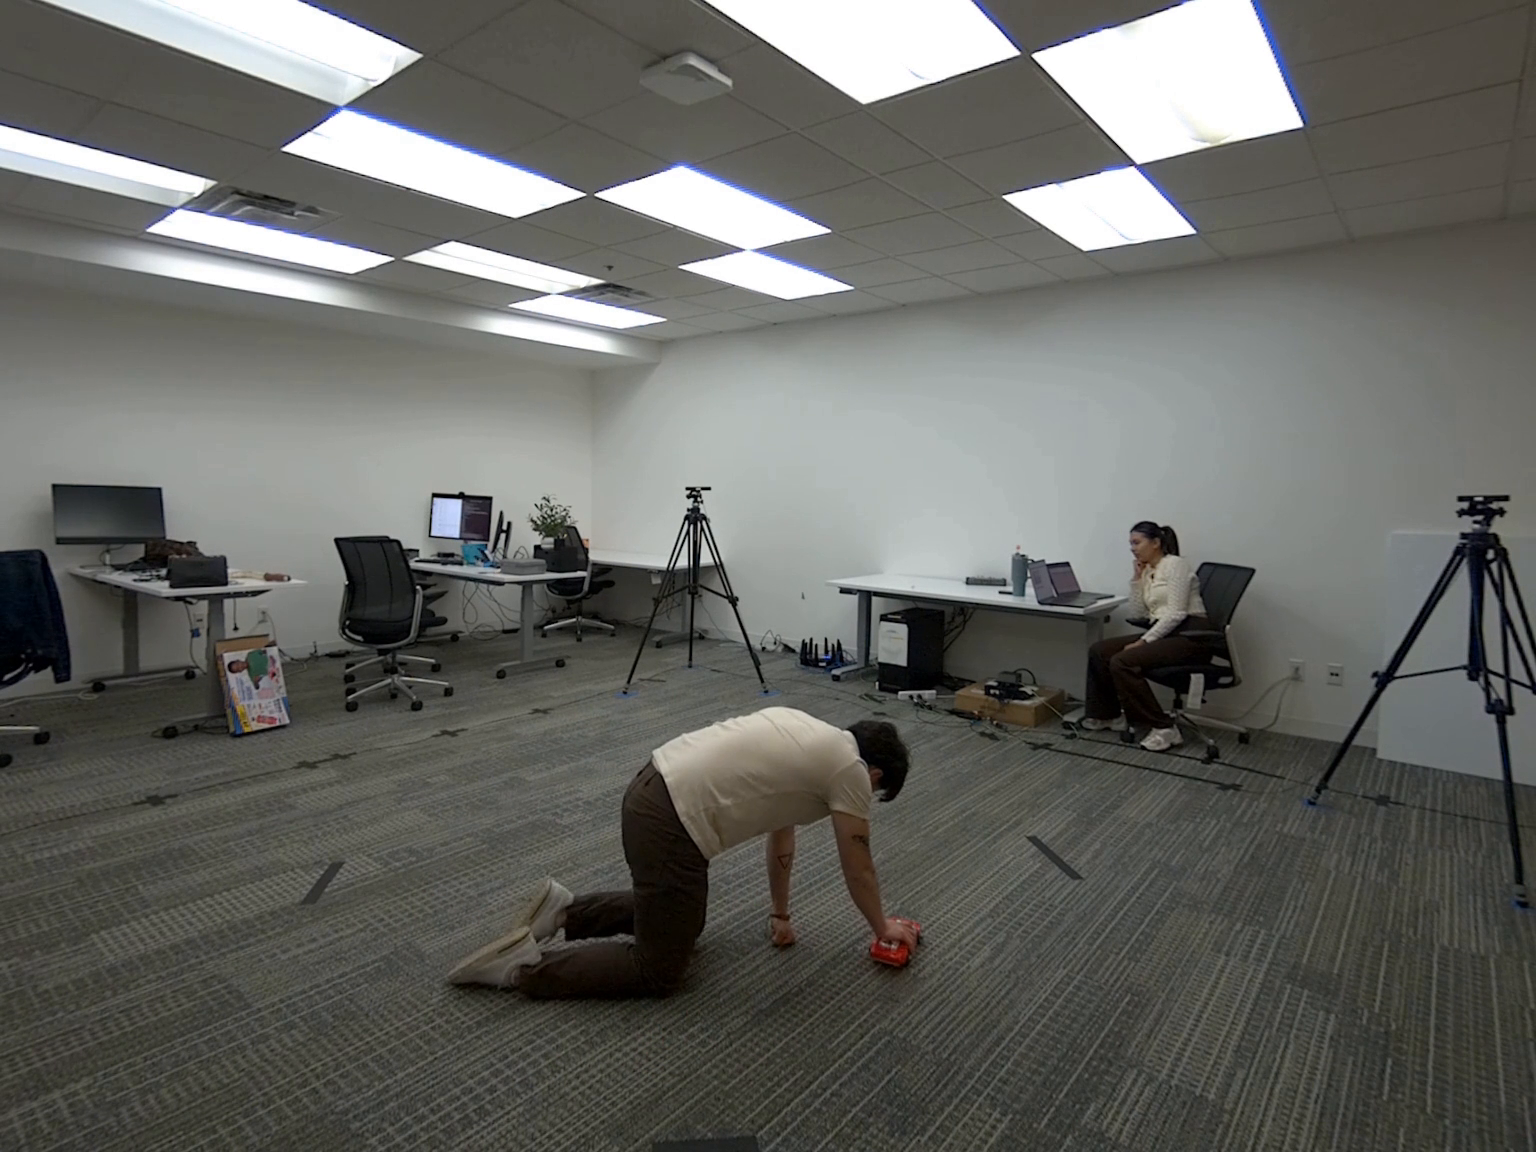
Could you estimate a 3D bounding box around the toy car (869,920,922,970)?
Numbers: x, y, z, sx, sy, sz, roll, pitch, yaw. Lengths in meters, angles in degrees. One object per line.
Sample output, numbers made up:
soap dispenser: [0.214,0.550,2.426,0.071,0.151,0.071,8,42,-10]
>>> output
toy car: [0.376,1.109,2.553,0.134,0.083,0.247,4,-4,25]
